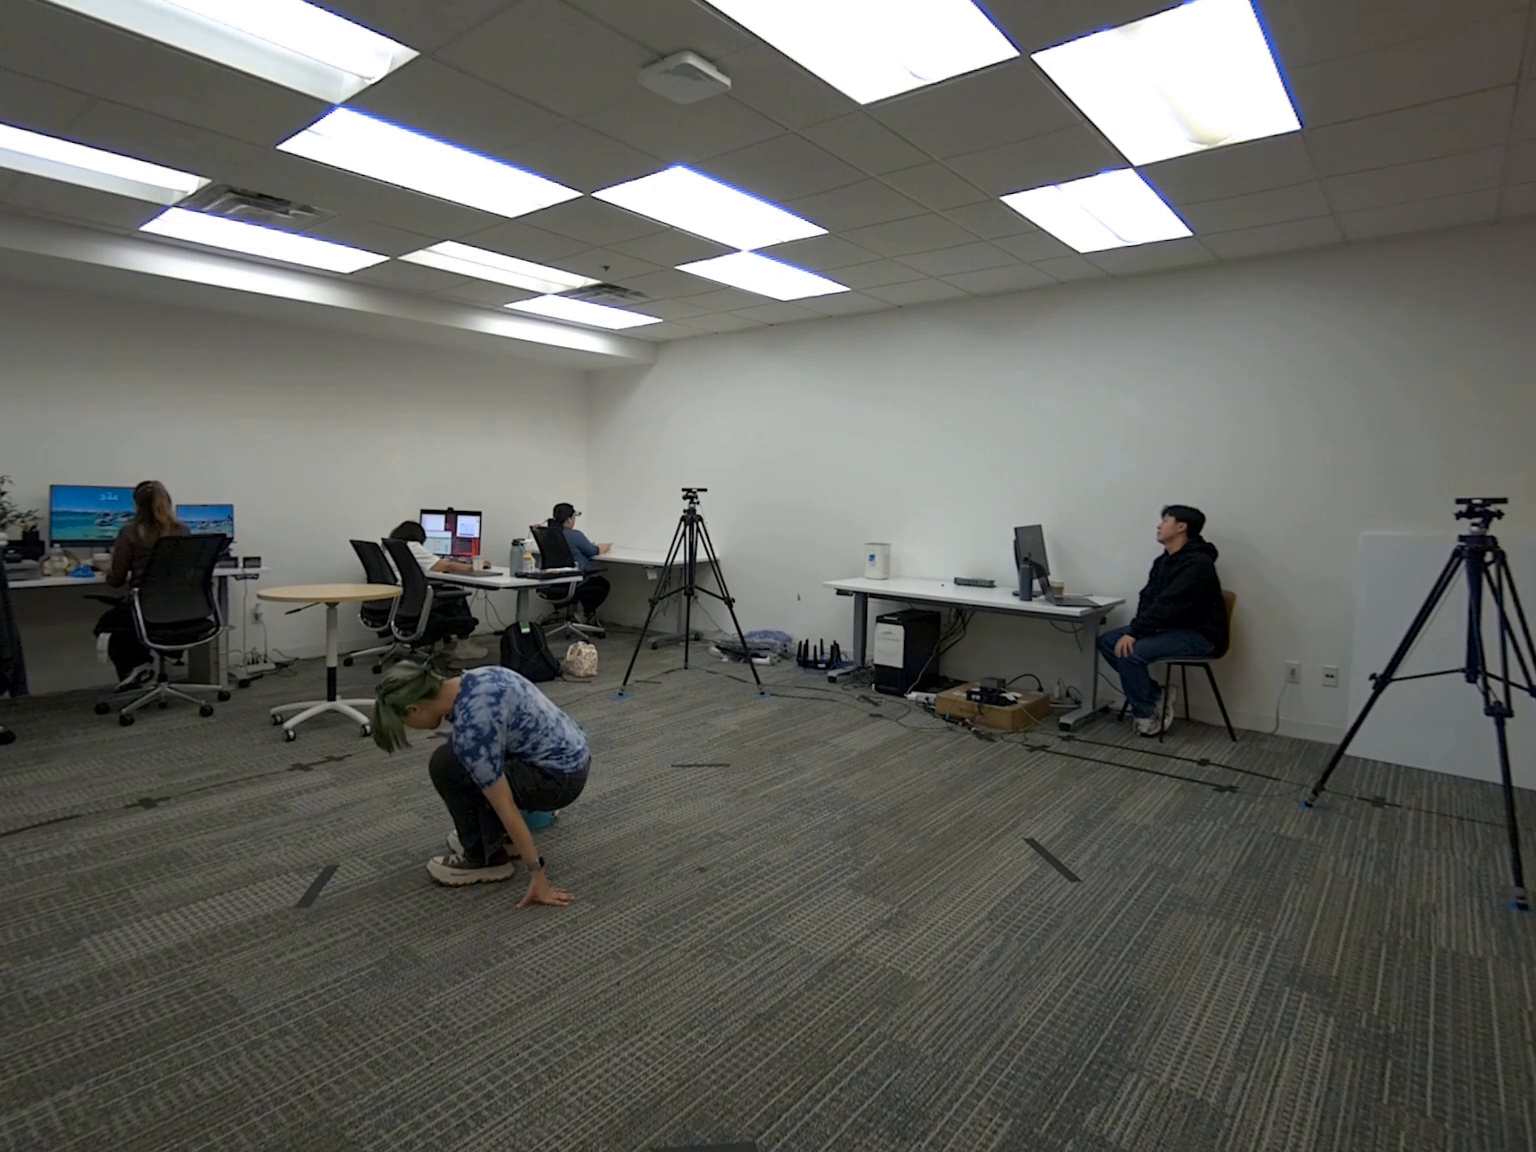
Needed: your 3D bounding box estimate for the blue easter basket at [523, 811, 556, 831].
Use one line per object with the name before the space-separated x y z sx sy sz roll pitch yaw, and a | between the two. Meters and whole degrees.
blue easter basket | -0.991 0.931 3.543 0.243 0.155 0.245 0 5 -2
